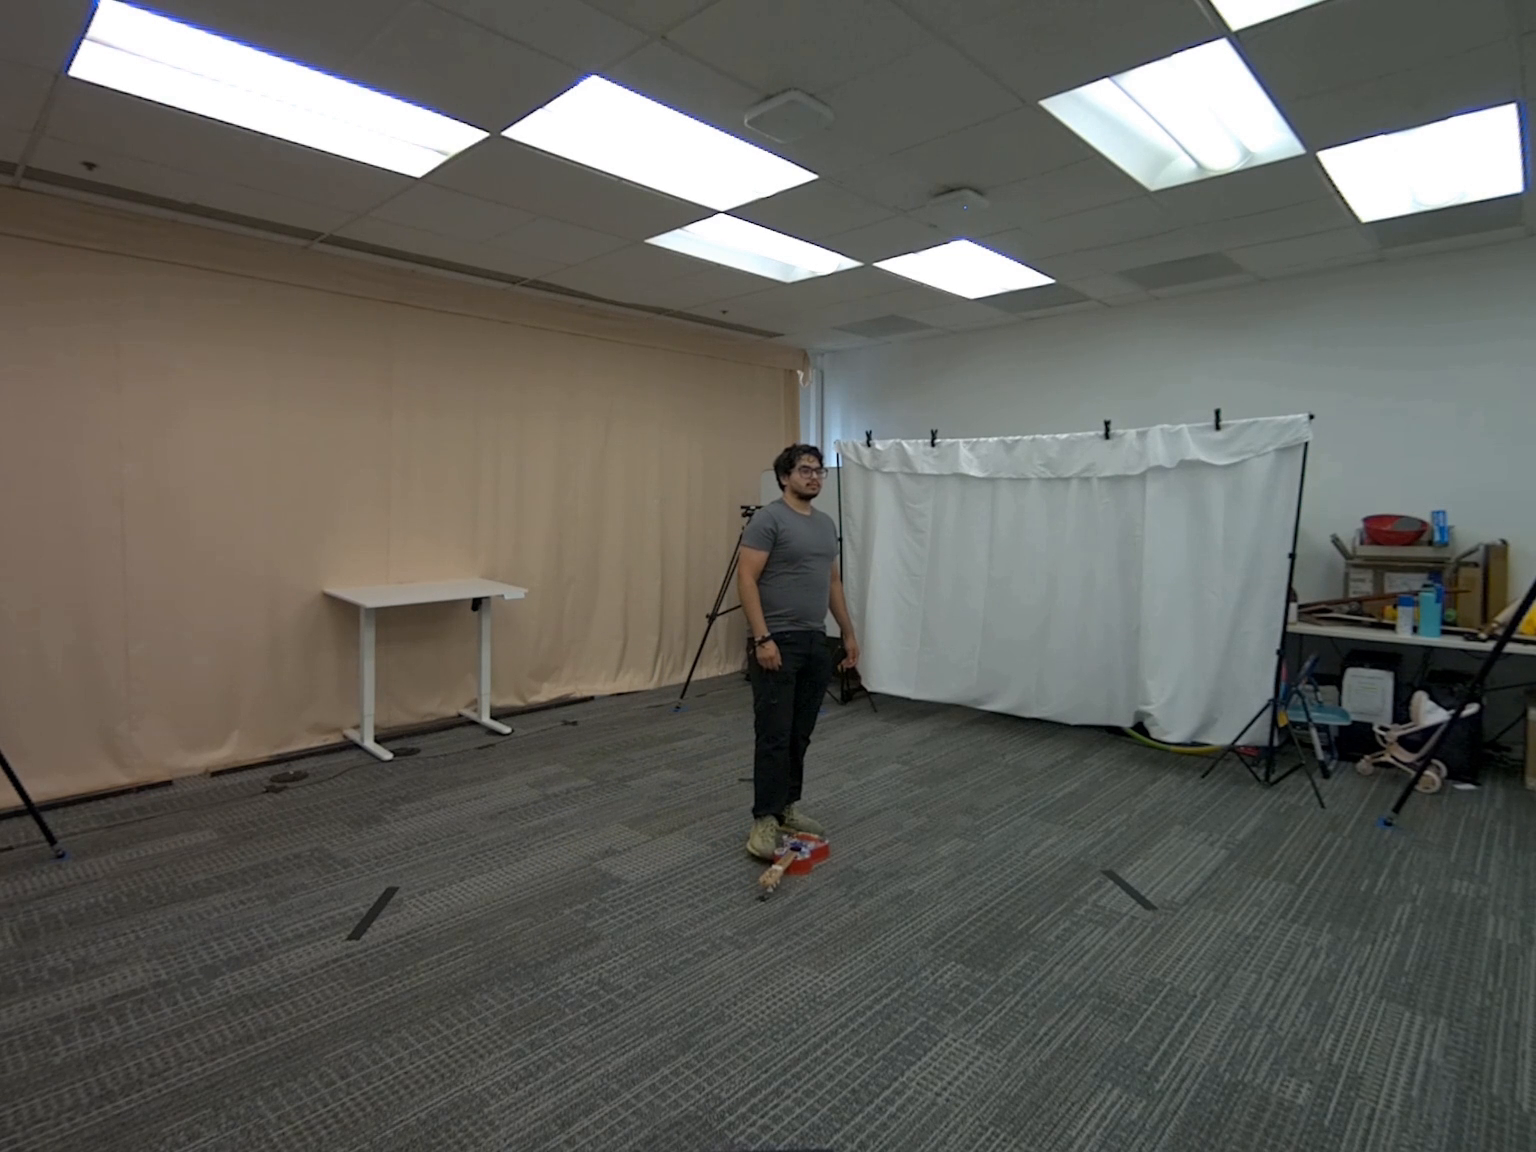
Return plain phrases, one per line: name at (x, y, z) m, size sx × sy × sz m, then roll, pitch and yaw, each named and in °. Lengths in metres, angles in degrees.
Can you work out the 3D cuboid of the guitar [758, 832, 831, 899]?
guitar at (0.056, 1.085, 3.216) m, size 0.199 × 0.070 × 0.484 m, roll 3°, pitch 5°, yaw 32°
